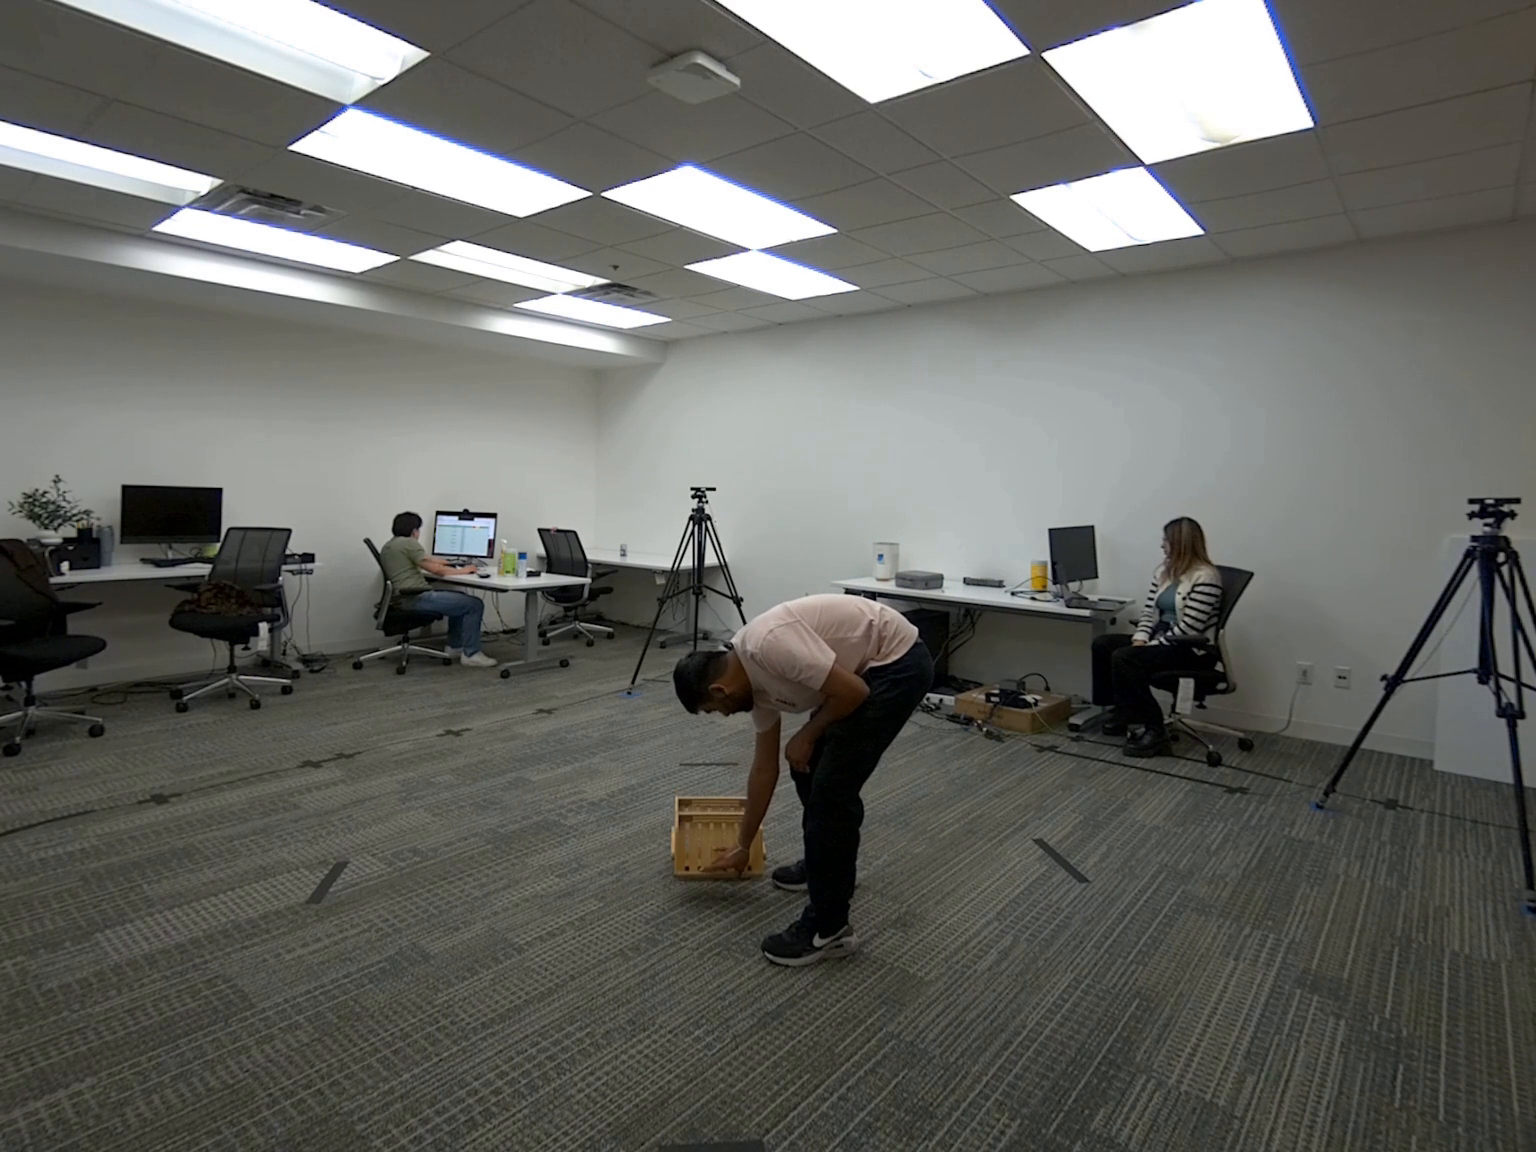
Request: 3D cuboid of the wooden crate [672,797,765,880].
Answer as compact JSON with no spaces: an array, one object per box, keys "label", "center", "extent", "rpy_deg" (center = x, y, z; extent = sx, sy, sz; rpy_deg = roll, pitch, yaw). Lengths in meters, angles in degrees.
[{"label":"wooden crate","center":[-0.188,0.923,3.036],"extent":[0.323,0.309,0.268],"rpy_deg":[1,-28,-4]}]
